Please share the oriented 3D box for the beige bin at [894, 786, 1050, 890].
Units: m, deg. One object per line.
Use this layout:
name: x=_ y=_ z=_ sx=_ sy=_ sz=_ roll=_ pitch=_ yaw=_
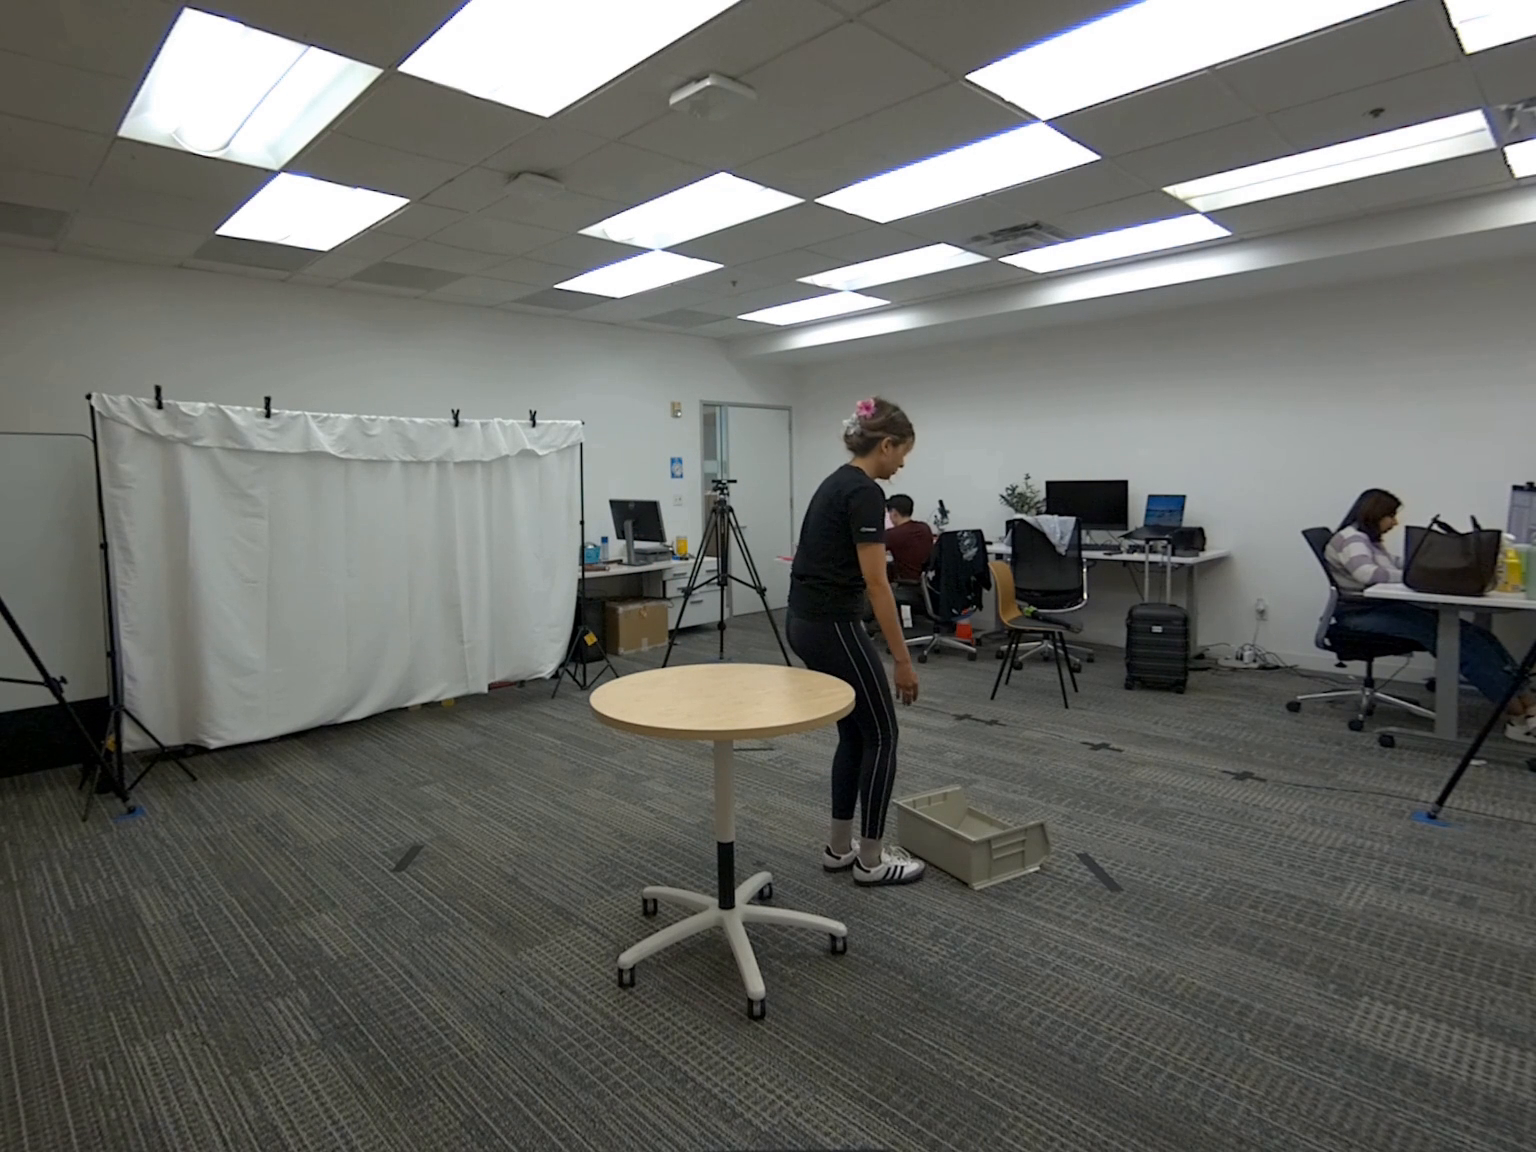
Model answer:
beige bin: x=0.743 y=0.942 z=3.134 sx=0.369 sy=0.188 sz=0.434 roll=-5 pitch=7 yaw=-30
